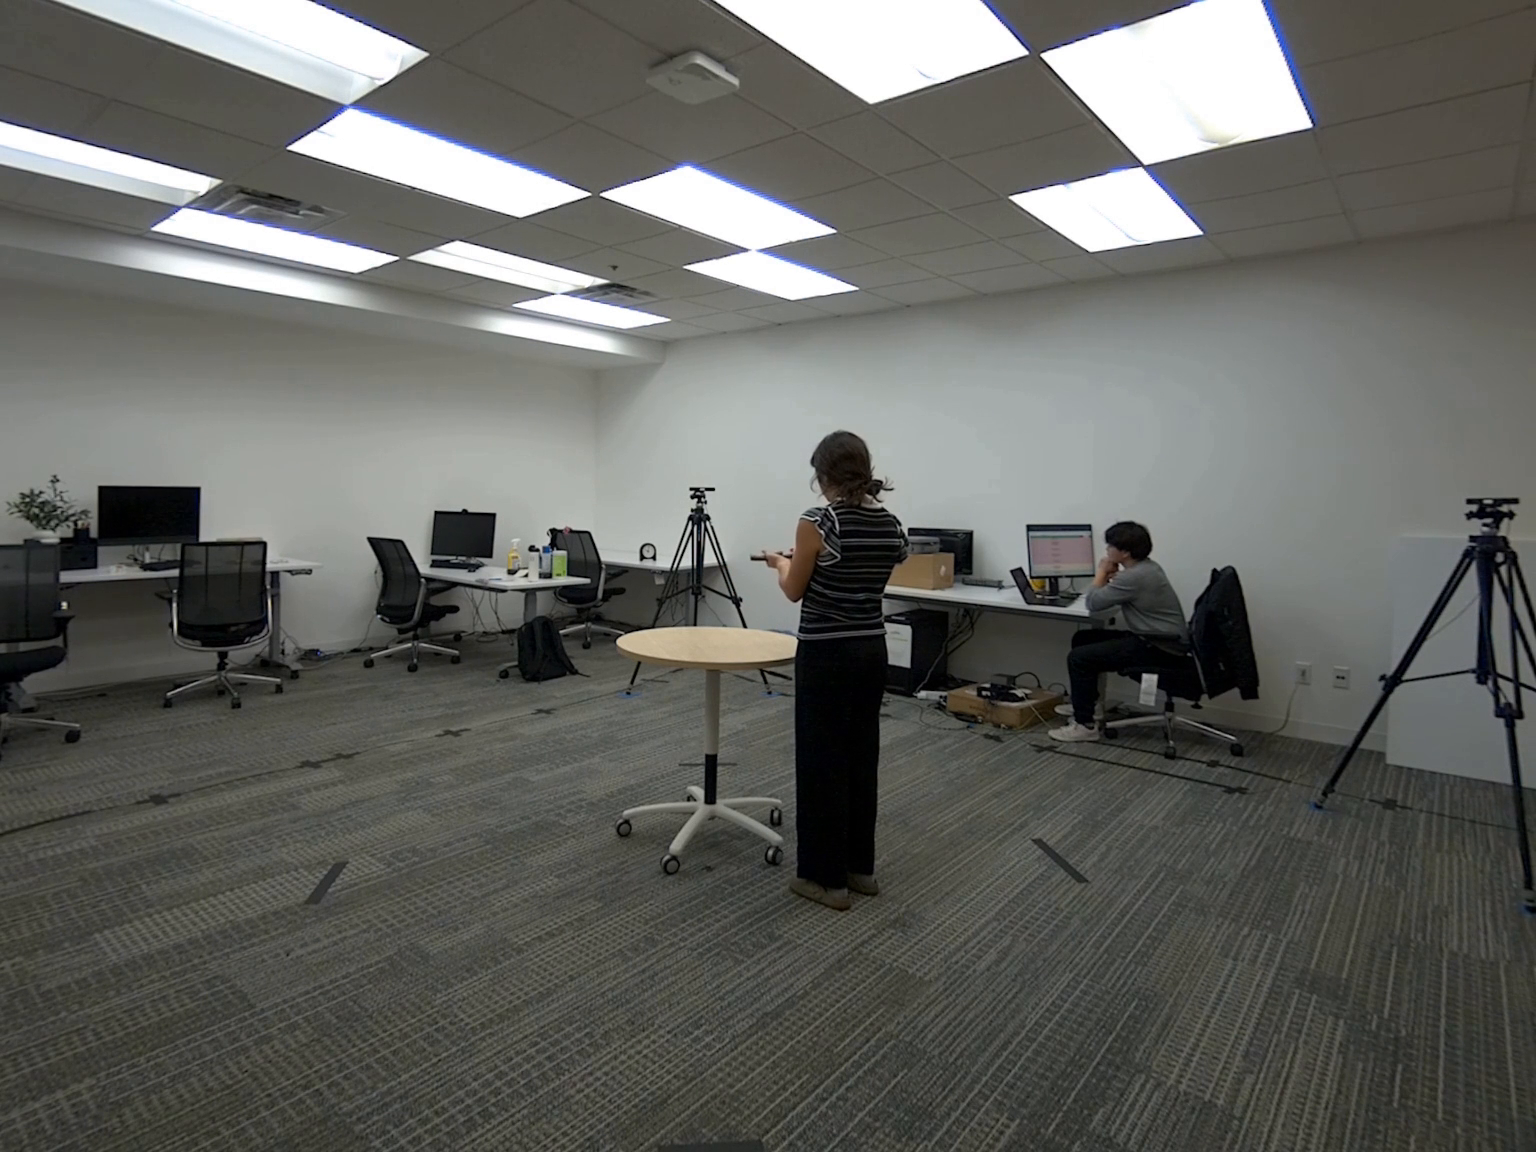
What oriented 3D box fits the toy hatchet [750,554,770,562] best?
[{"bbox_3d":[0.045,-0.092,3.212,0.266,0.029,0.135,0,23,-13],"label":"toy hatchet"}]
